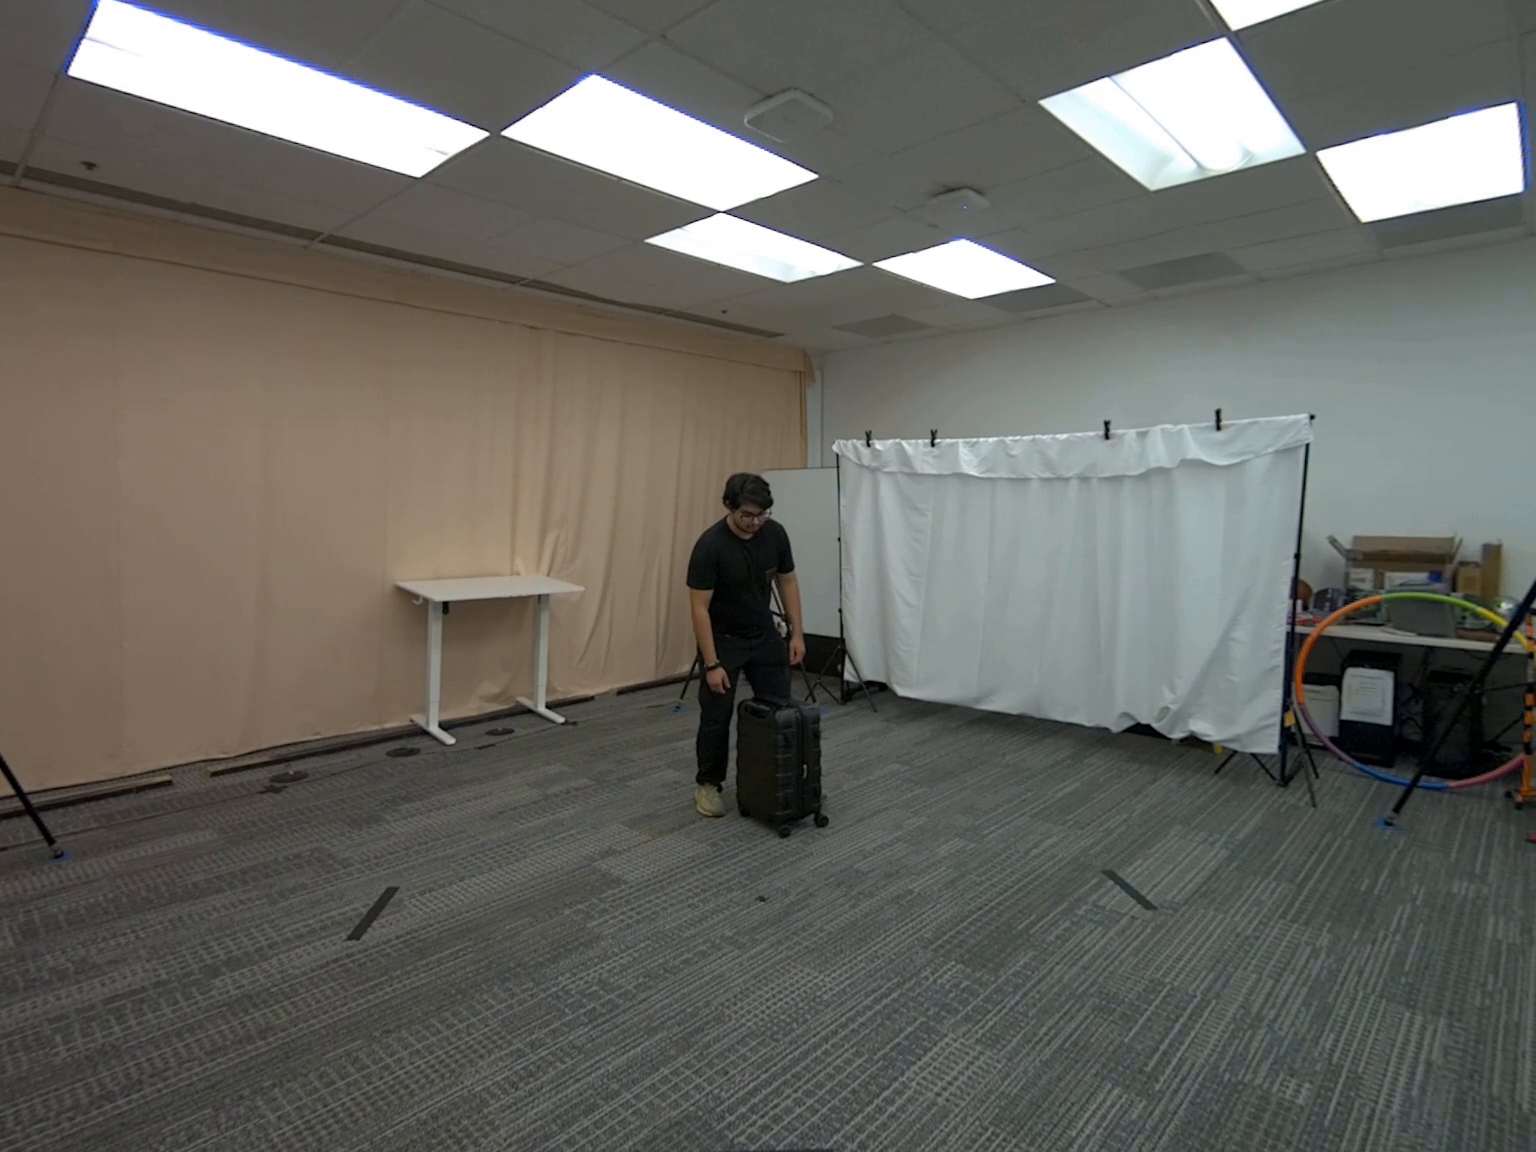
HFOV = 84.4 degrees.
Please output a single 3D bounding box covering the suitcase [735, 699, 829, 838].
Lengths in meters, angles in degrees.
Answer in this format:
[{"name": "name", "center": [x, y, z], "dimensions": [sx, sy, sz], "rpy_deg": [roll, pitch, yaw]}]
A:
[{"name": "suitcase", "center": [0.048, 0.806, 3.710], "dimensions": [0.241, 0.548, 0.387], "rpy_deg": [-3, 3, -36]}]
